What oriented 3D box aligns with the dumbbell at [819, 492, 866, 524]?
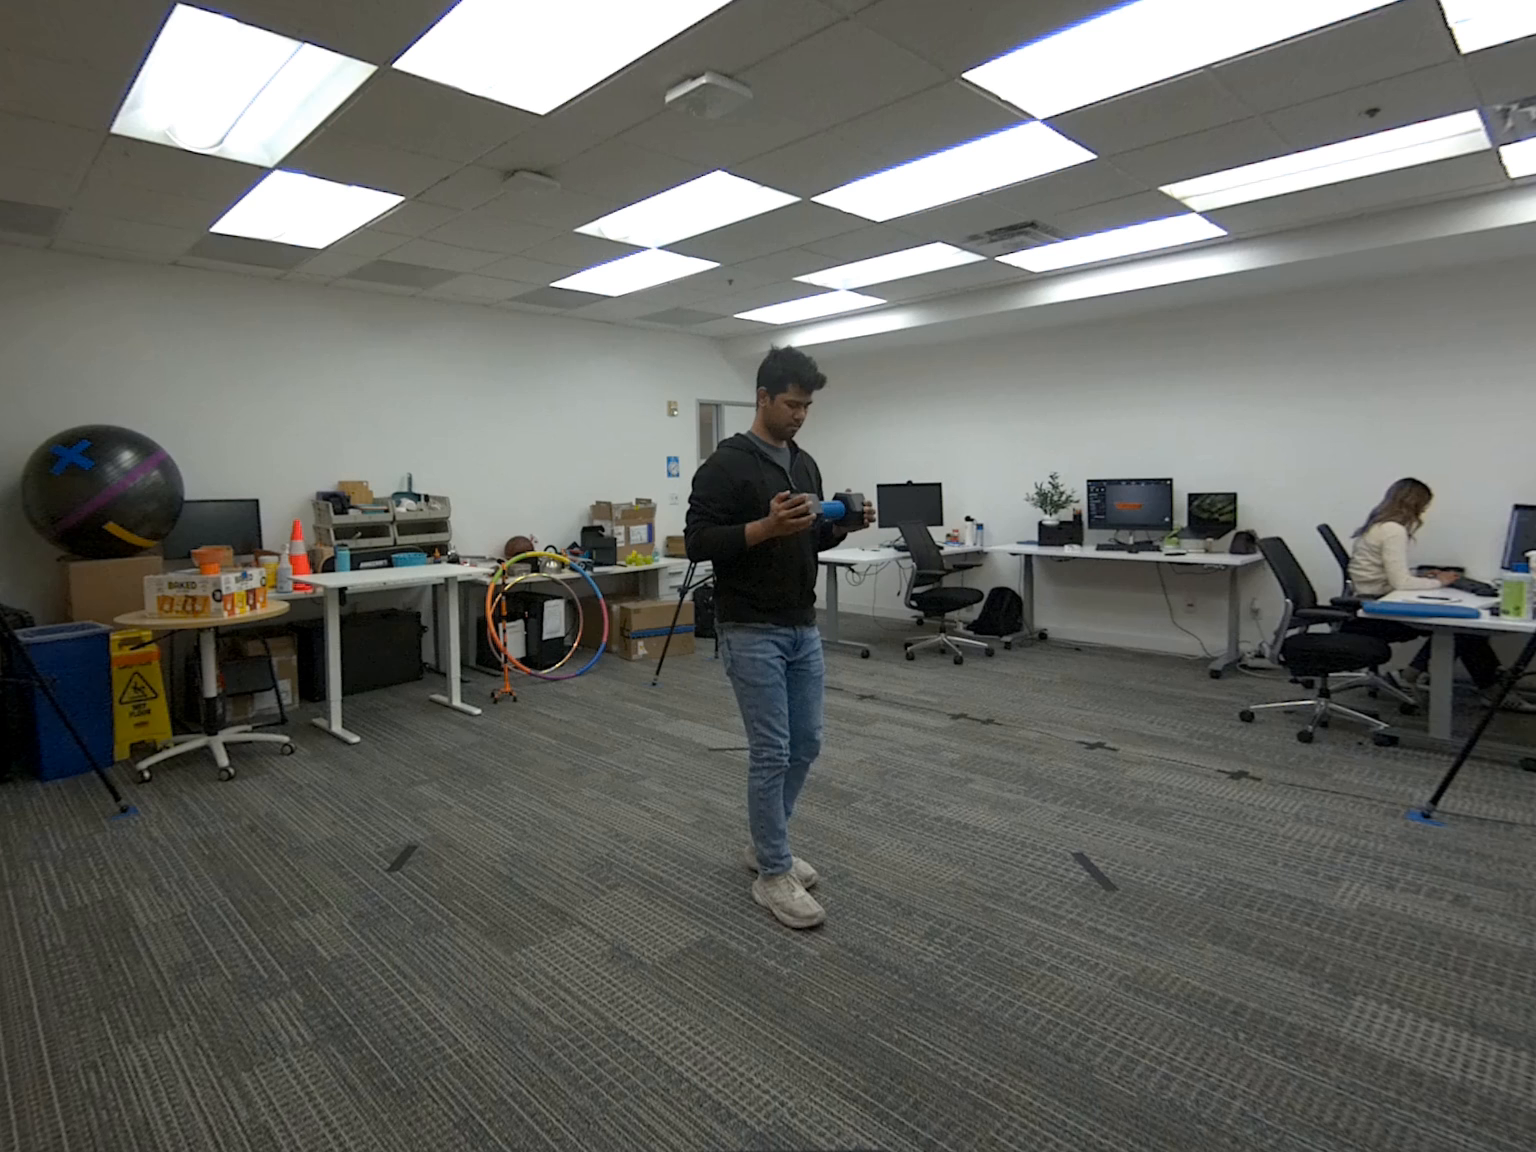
[{"bbox_3d":[0.169,-0.192,2.652,0.286,0.121,0.113,-6,40,-42],"label":"dumbbell"}]
